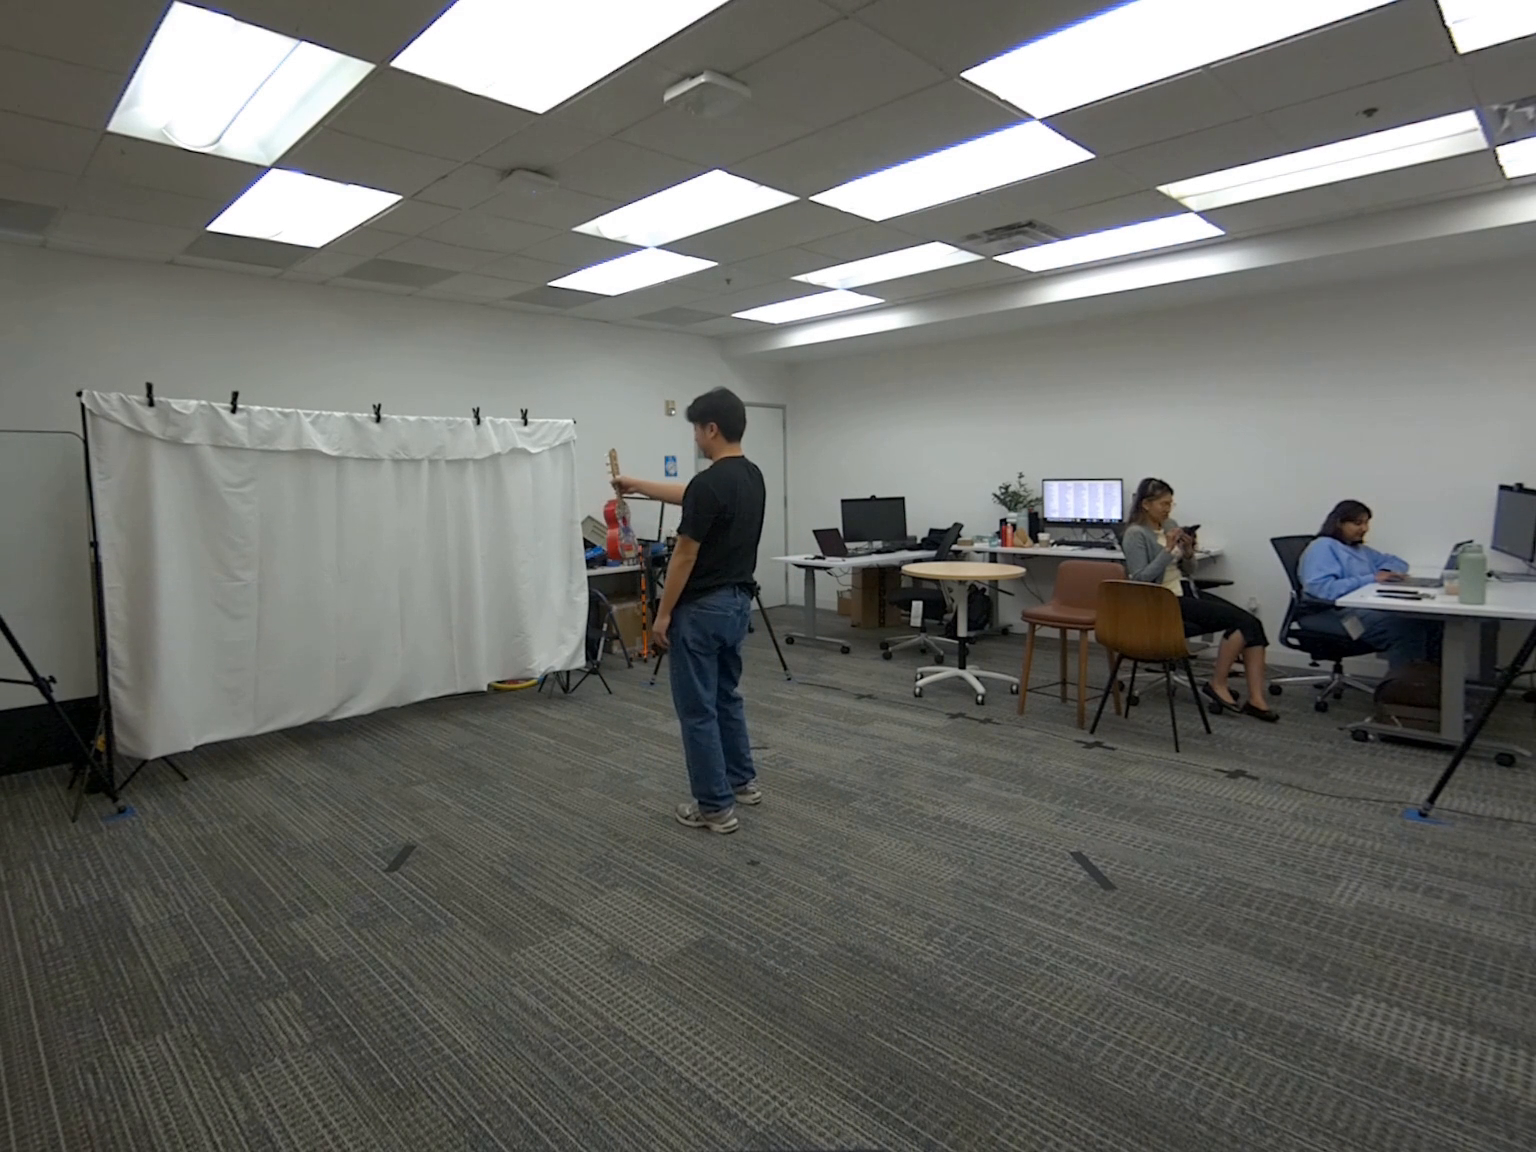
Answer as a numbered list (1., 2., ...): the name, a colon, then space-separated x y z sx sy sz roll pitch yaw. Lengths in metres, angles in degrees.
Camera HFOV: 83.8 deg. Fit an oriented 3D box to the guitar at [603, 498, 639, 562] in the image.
1. guitar: -0.659 -0.311 3.830 0.072 0.501 0.189 -9 -7 17
